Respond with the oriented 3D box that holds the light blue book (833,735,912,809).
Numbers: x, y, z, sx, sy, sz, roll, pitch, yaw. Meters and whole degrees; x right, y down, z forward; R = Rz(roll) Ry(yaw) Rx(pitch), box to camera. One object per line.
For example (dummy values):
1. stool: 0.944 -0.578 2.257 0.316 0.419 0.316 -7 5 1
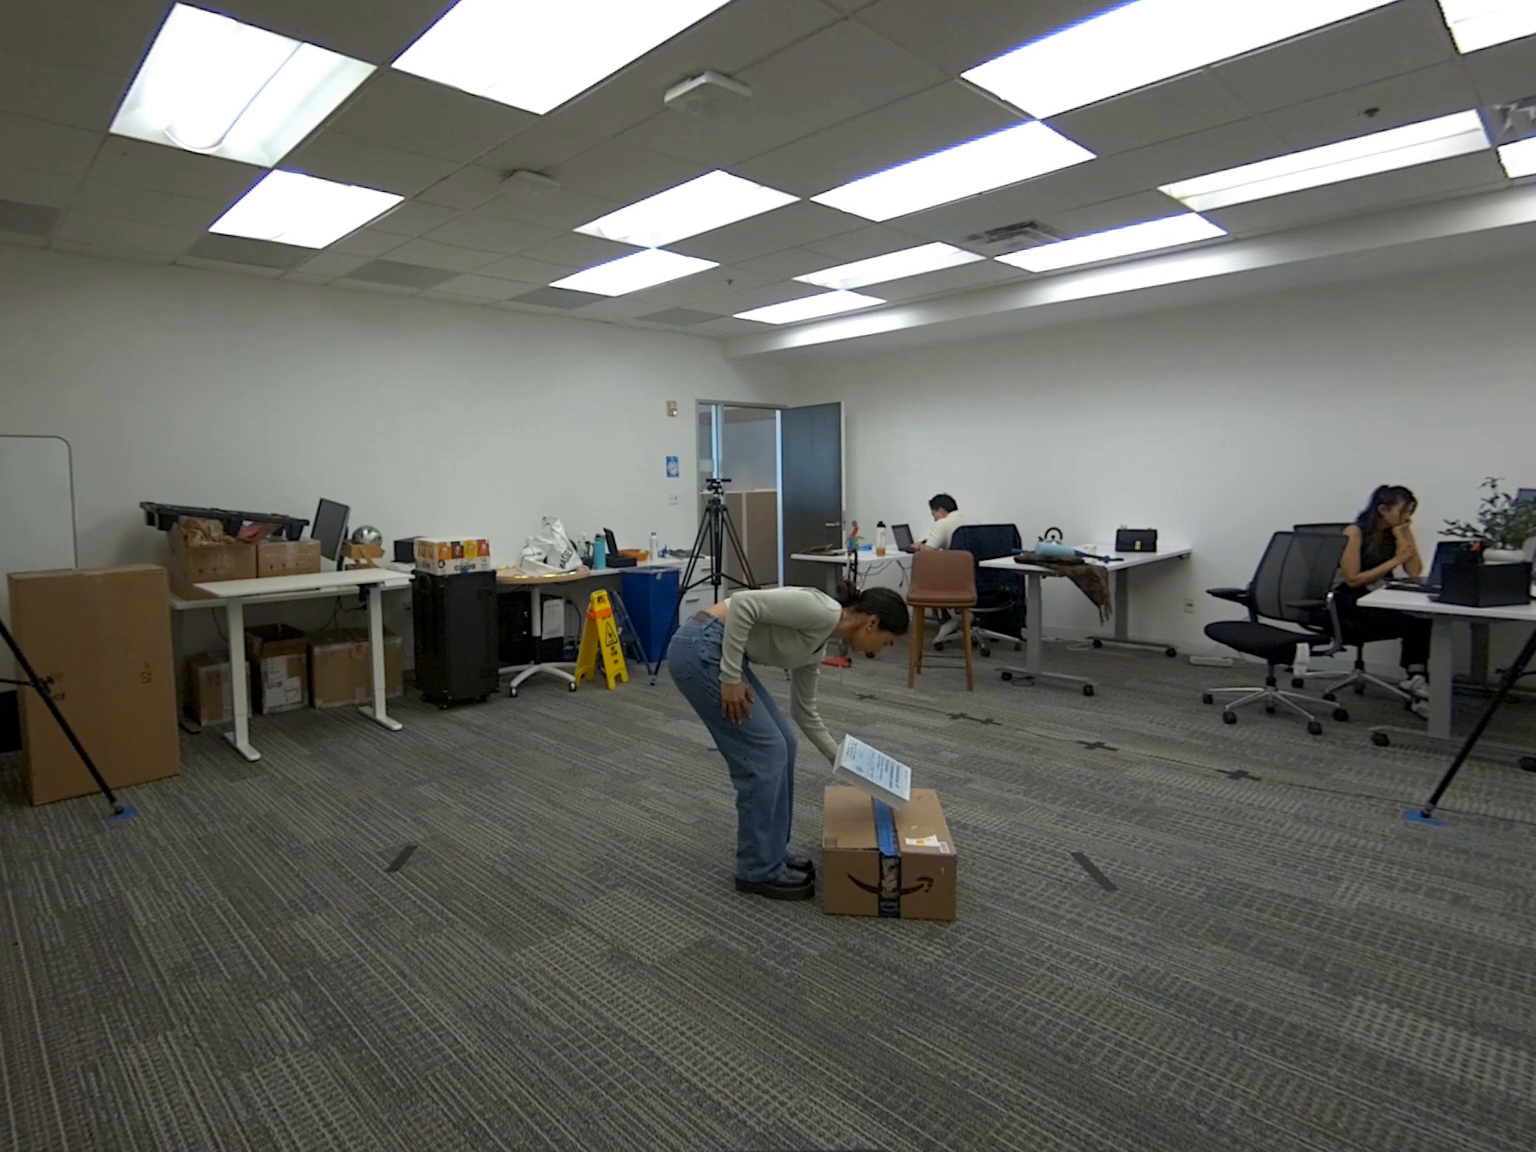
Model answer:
1. light blue book: 0.371 0.681 3.005 0.261 0.058 0.193 27 26 -1
